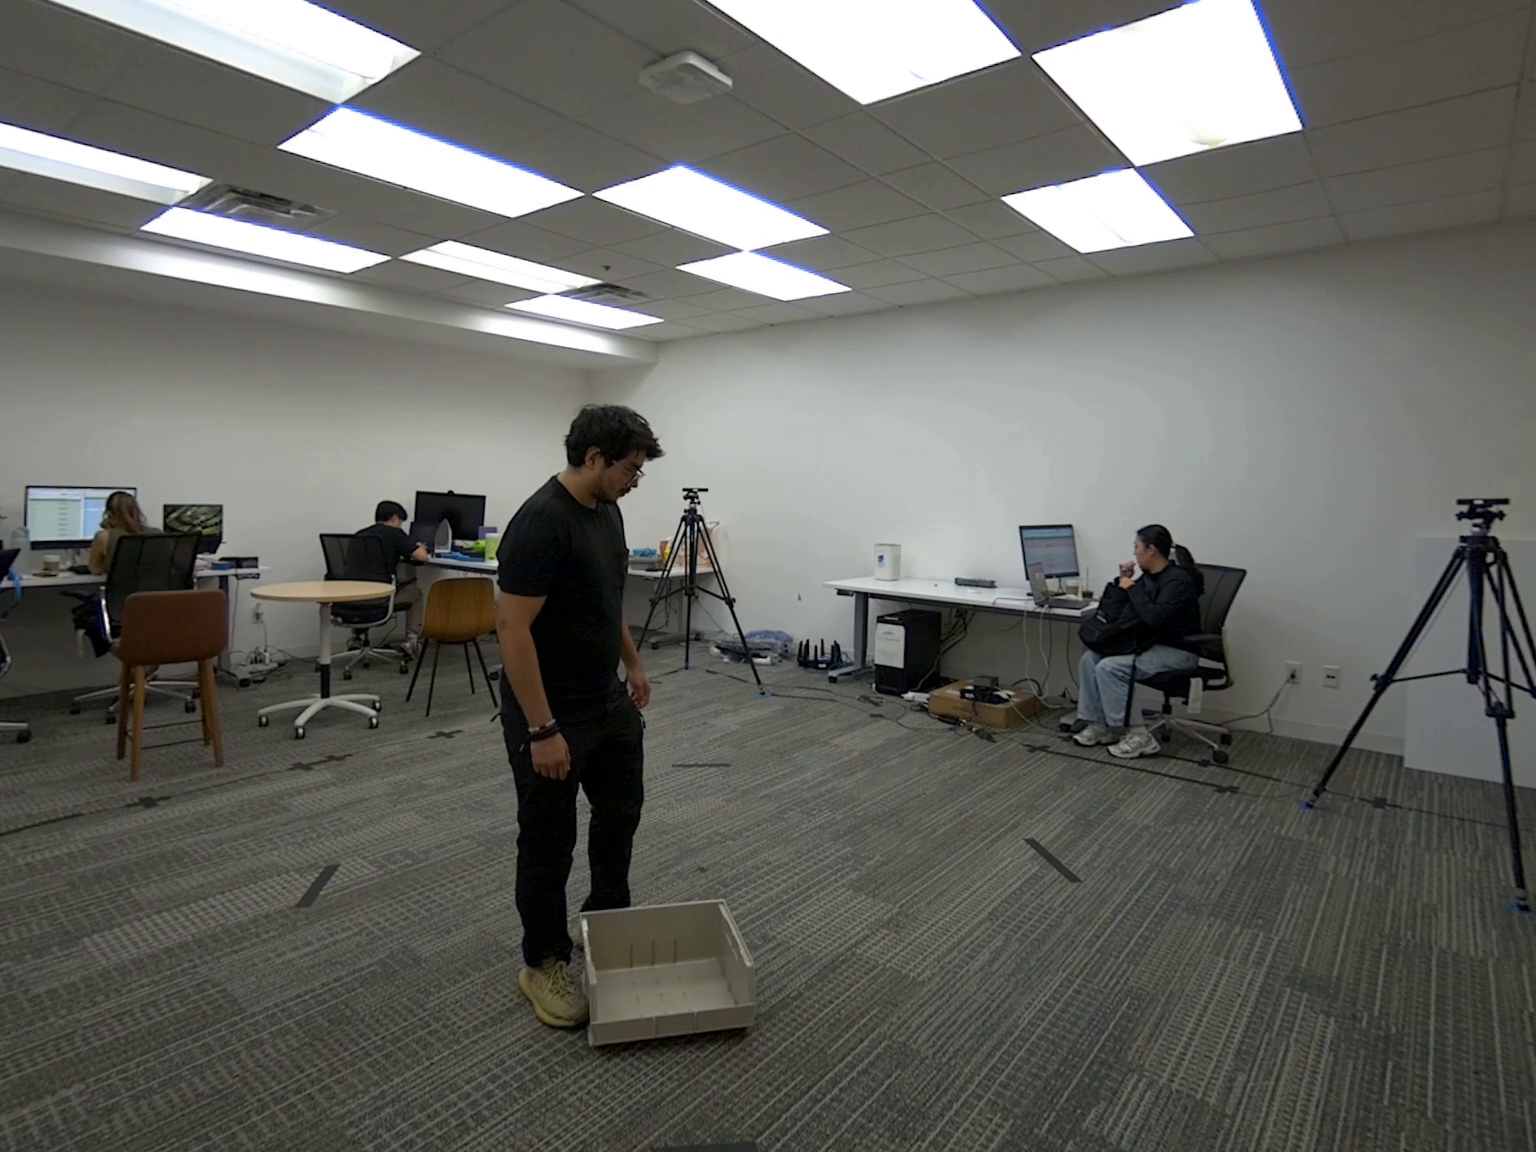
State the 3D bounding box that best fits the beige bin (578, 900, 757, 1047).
[{"bbox_3d":[-0.287,1.060,2.281,0.416,0.188,0.384,-1,5,-15],"label":"beige bin"}]
